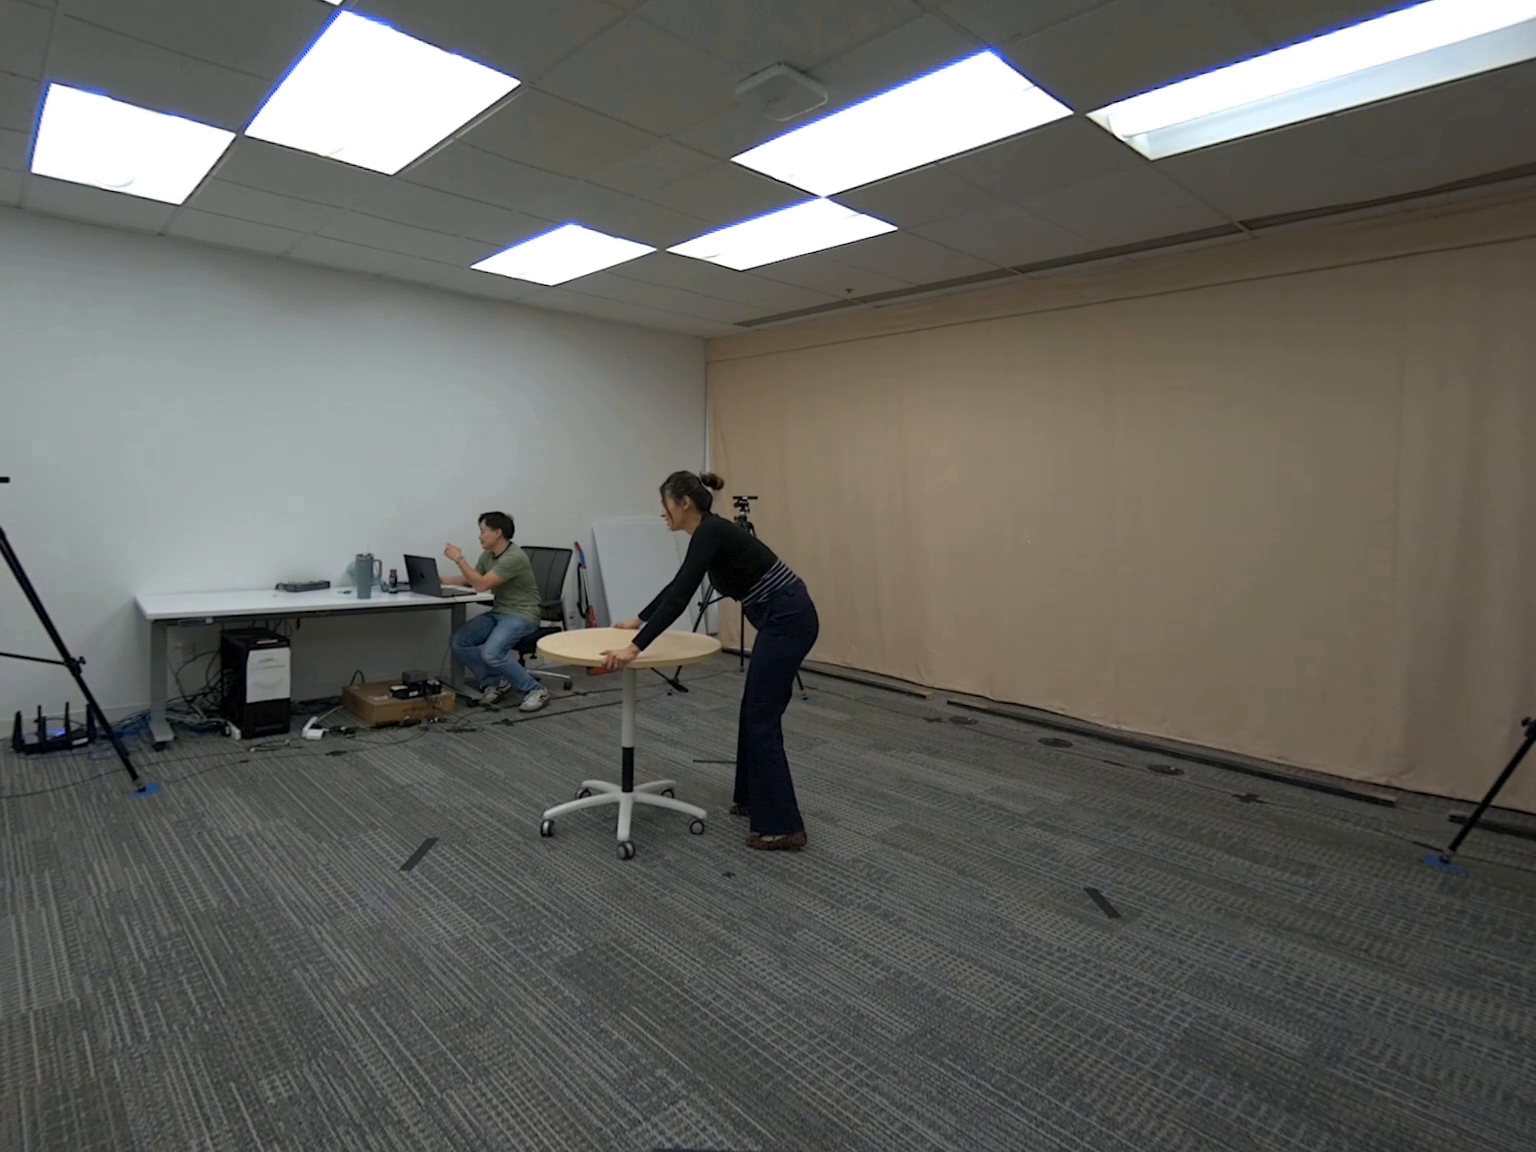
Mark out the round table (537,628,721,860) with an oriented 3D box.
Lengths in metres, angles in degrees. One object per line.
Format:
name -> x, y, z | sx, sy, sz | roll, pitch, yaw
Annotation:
round table -> -0.597, 0.668, 3.535 | 0.763, 0.792, 0.766 | 1, 4, -1
